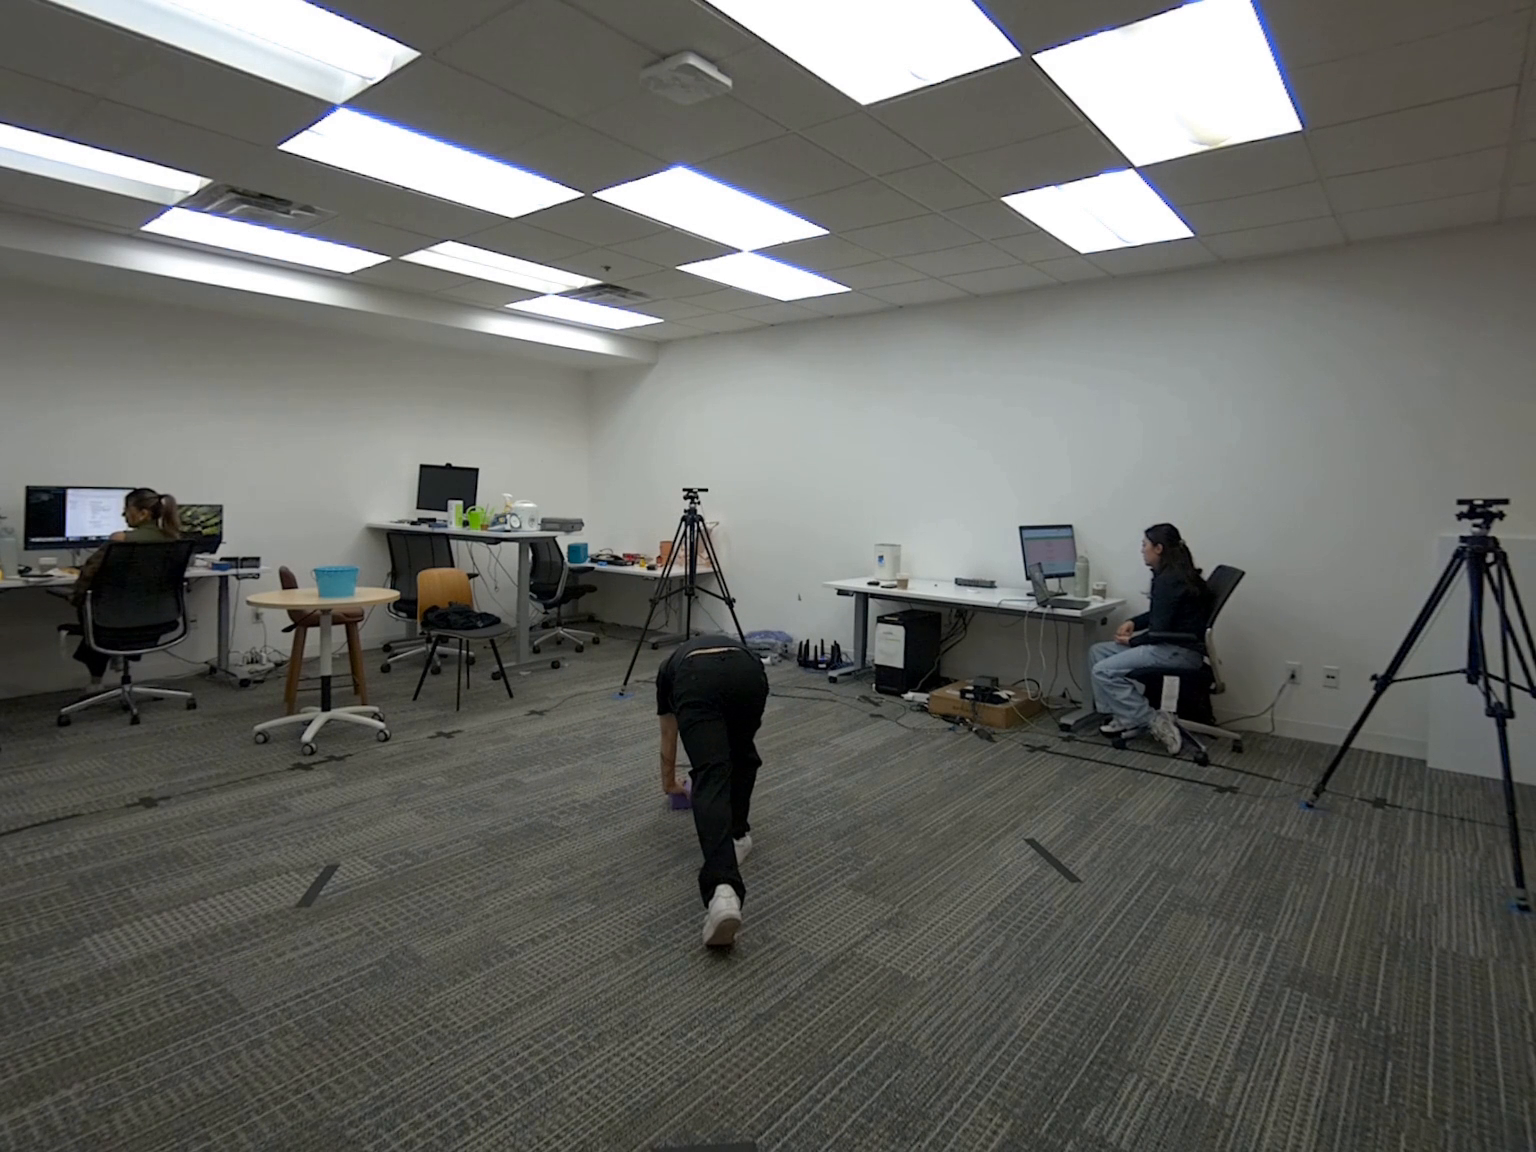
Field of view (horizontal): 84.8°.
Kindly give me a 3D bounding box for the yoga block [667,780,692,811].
[{"bbox_3d":[-0.332,0.962,3.769,0.227,0.076,0.150,-1,2,-9],"label":"yoga block"}]
